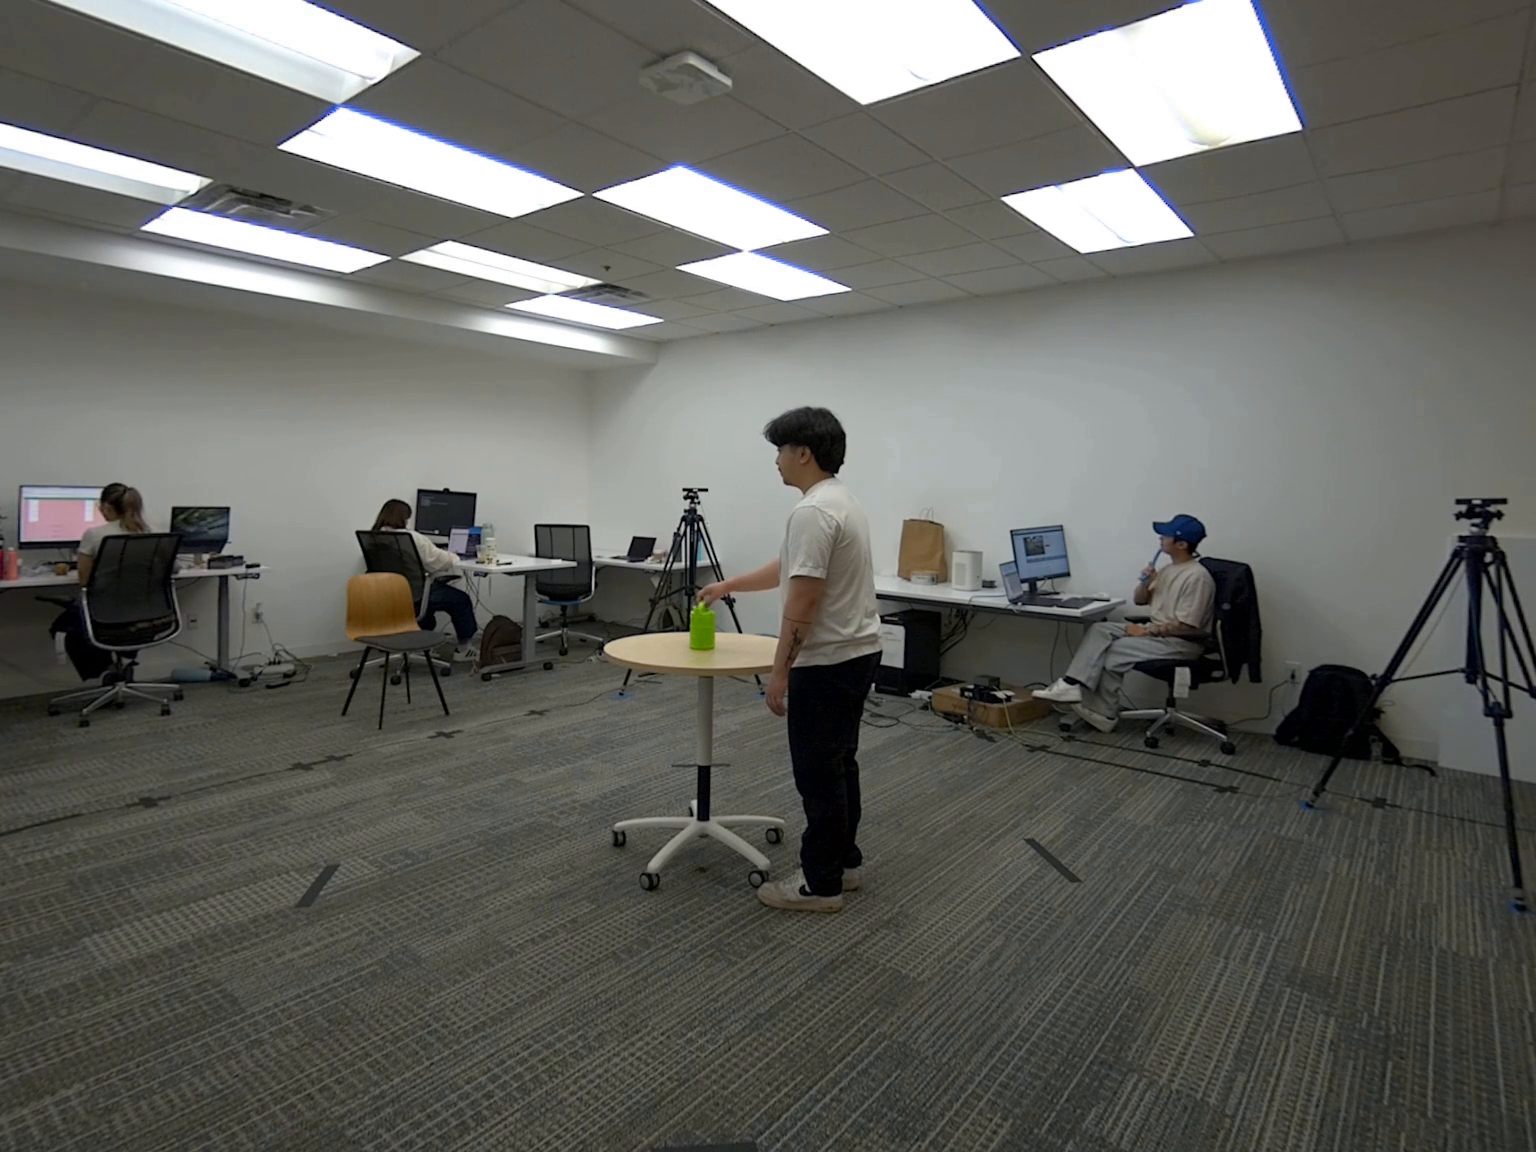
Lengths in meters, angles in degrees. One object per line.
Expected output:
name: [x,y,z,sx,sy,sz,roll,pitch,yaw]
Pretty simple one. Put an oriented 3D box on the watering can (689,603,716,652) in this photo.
watering can: [-0.276,0.184,3.170,0.100,0.177,0.272,3,2,22]
